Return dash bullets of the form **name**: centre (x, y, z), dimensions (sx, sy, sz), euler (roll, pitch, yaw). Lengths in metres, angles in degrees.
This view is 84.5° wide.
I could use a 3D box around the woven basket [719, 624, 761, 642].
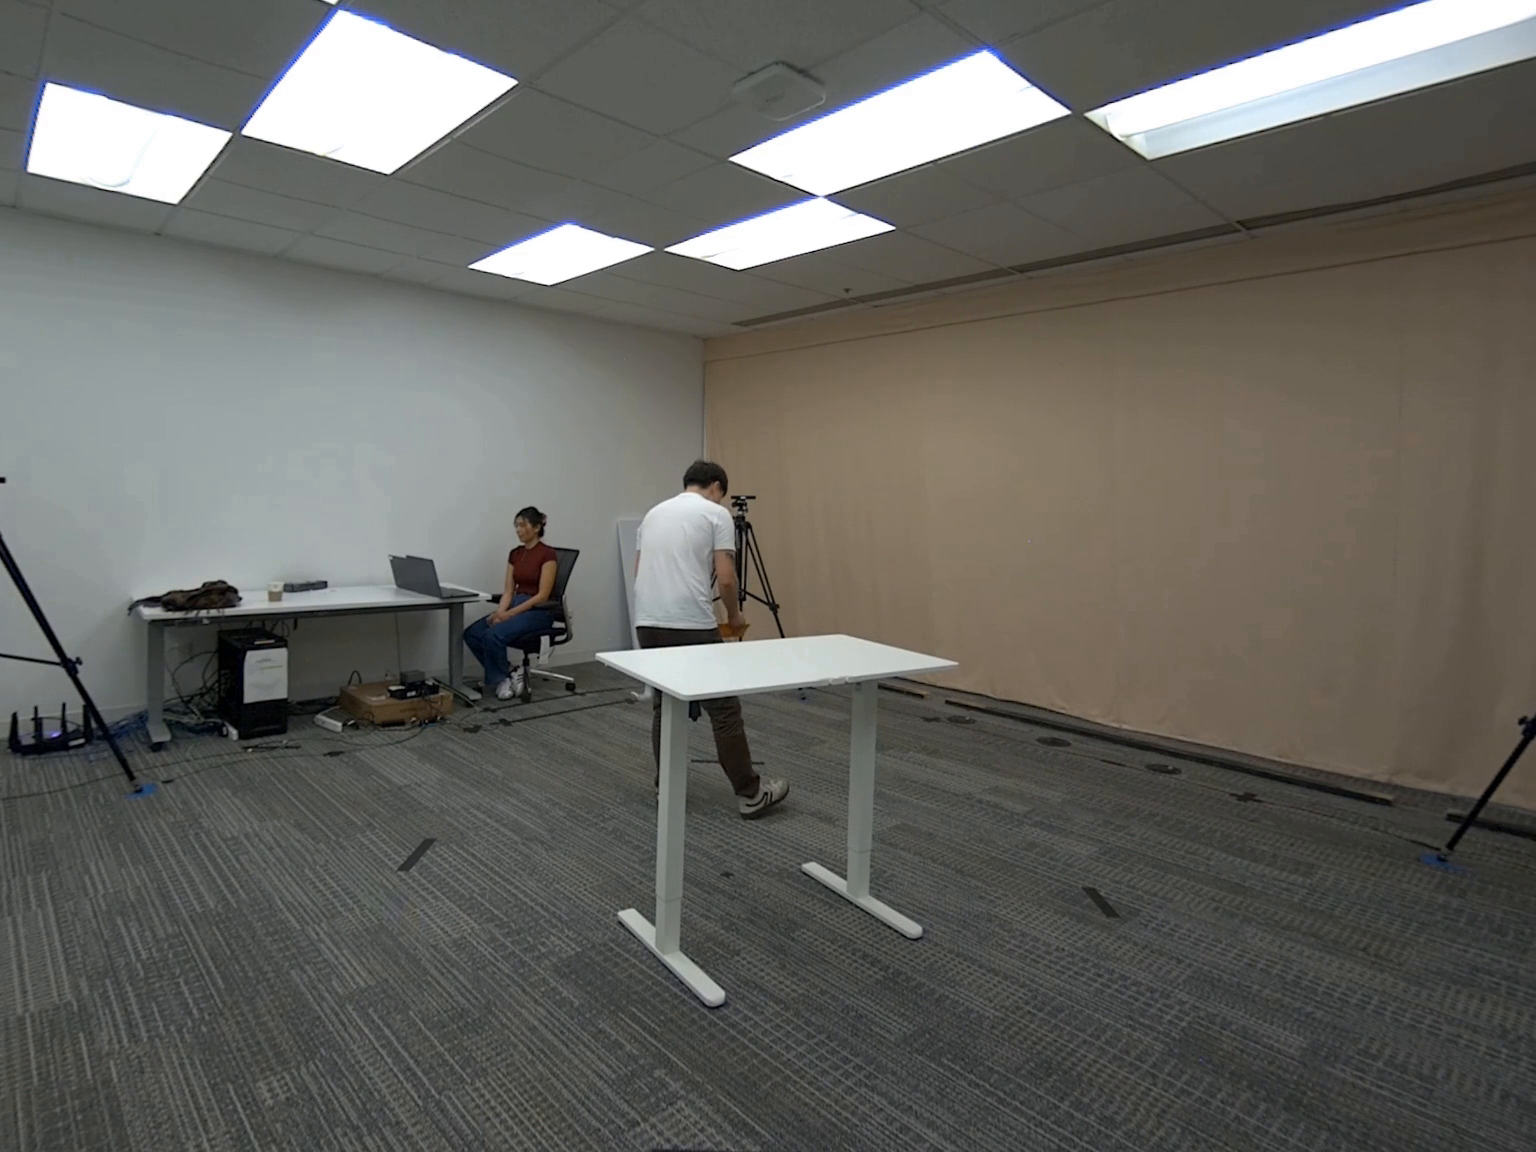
- **woven basket**: centre (-0.231, 0.266, 4.030), dimensions (0.257, 0.073, 0.342), euler (0, -4, 28)
